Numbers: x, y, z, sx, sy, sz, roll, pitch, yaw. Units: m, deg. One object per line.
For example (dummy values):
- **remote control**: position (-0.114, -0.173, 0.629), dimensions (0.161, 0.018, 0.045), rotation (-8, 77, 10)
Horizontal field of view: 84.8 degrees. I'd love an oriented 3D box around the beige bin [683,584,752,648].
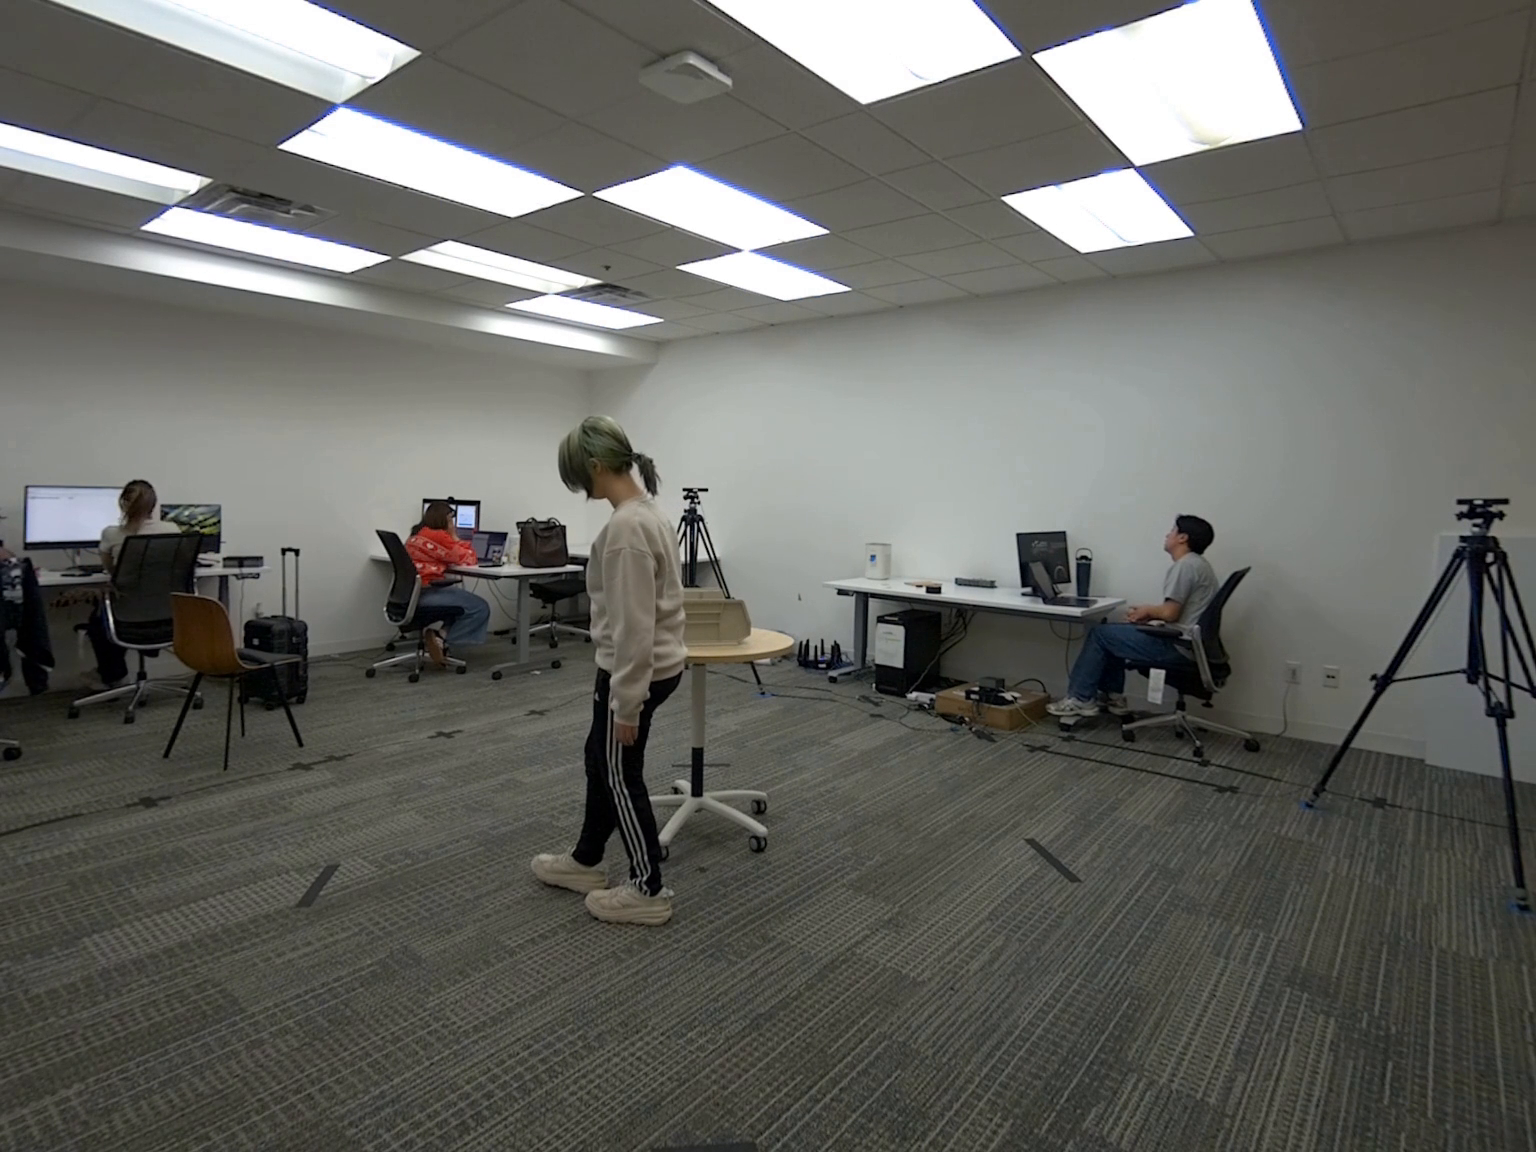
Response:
- **beige bin**: position (-0.305, 0.157, 3.465), dimensions (0.373, 0.188, 0.429), rotation (-2, 6, -13)
